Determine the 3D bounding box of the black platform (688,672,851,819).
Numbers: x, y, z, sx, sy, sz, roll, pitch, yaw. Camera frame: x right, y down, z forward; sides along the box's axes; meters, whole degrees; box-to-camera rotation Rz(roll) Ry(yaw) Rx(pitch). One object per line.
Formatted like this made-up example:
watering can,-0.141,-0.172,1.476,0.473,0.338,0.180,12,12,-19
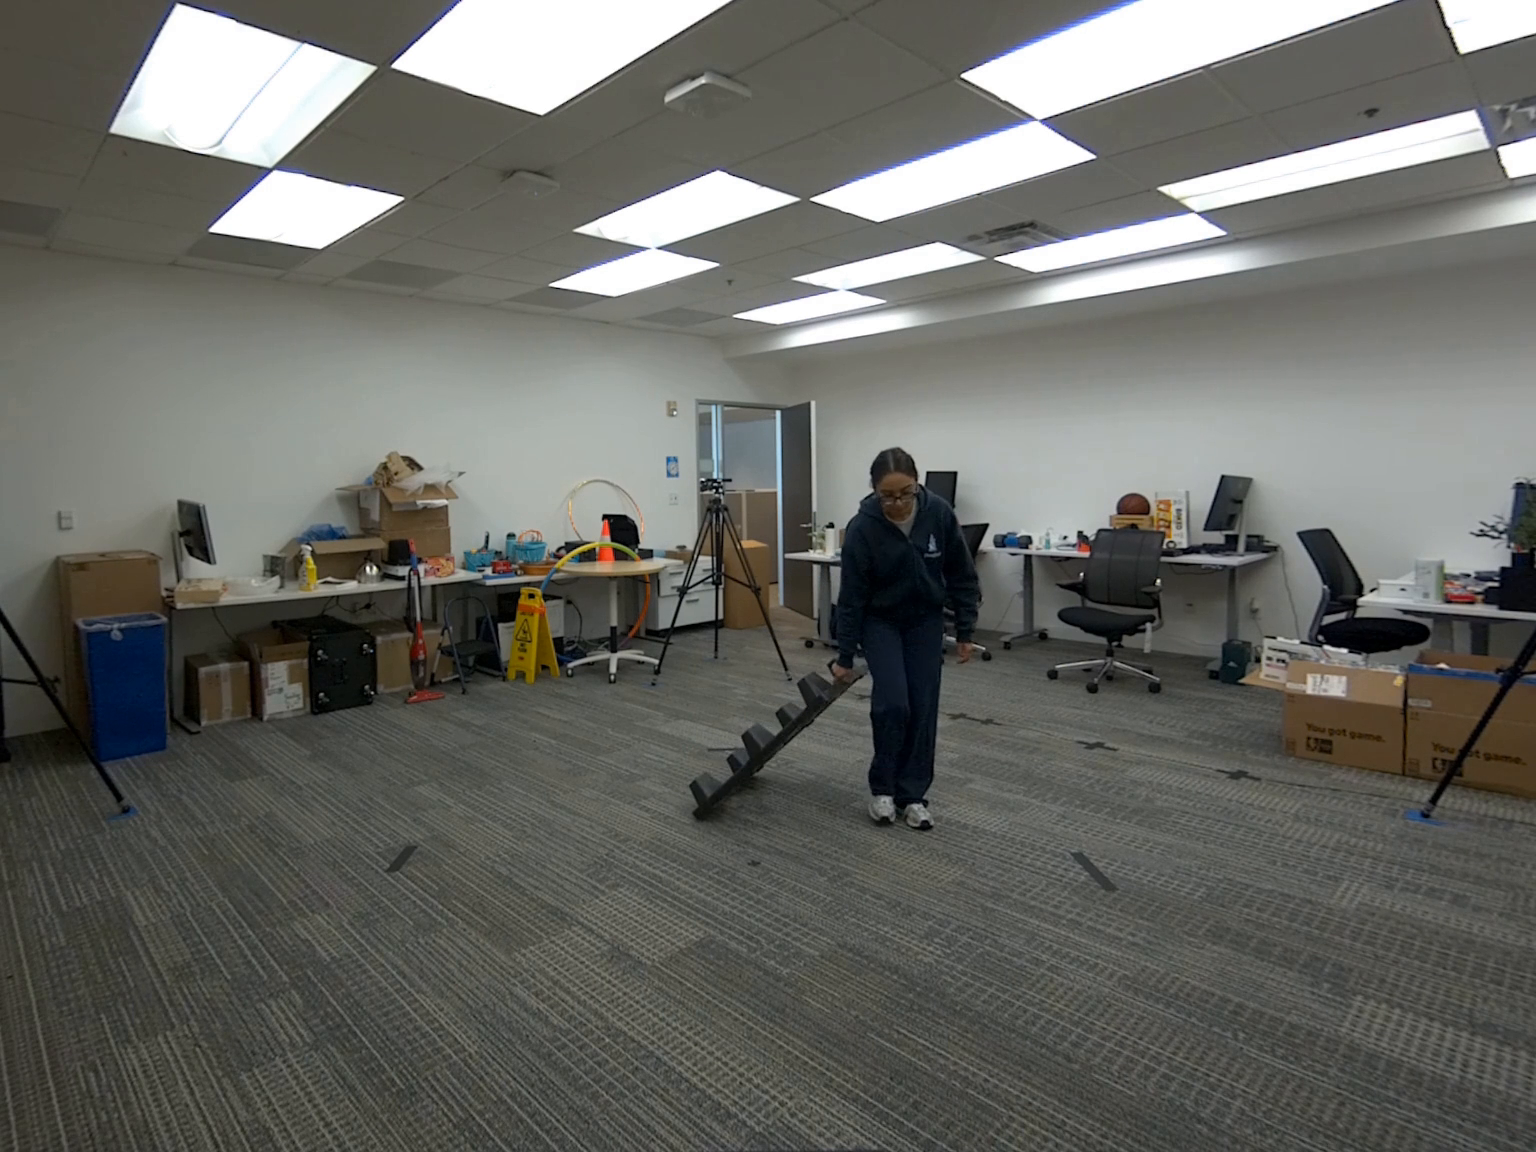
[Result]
black platform,0.036,0.665,3.642,0.805,0.146,0.594,-46,-12,20
